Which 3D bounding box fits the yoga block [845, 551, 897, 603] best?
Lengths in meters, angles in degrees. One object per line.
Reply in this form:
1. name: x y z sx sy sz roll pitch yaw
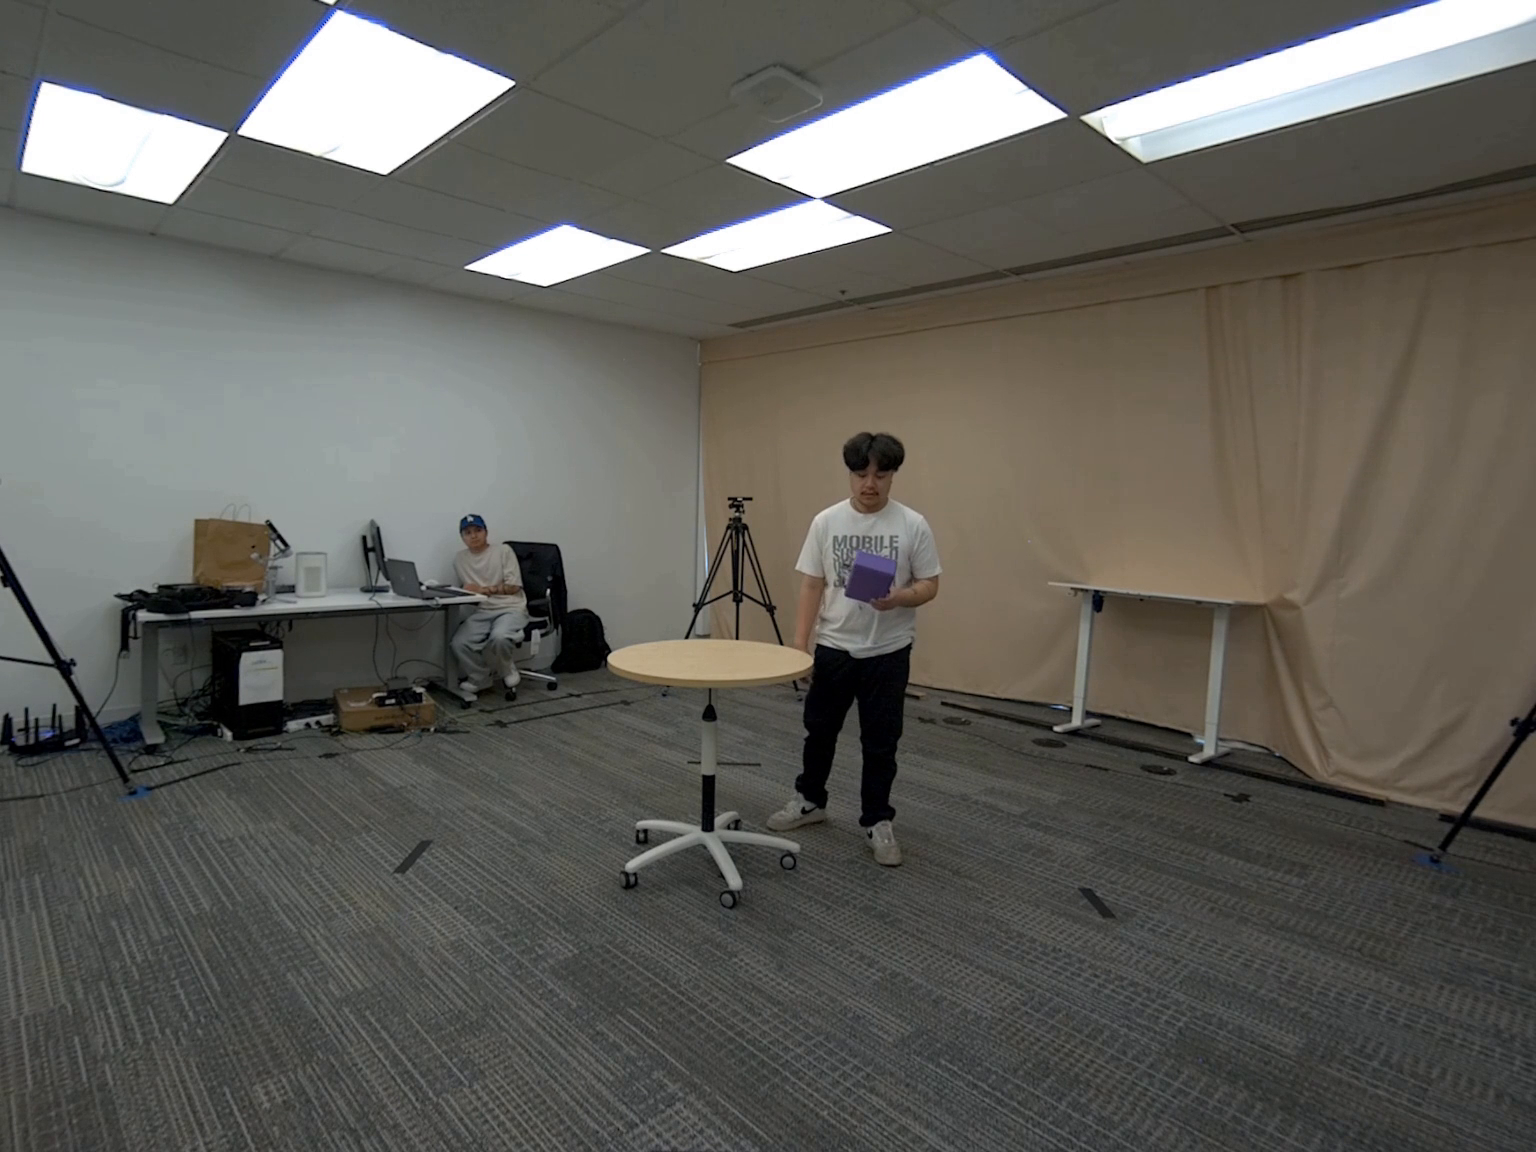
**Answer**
1. yoga block: 0.357 0.009 3.015 0.151 0.077 0.224 16 -29 11
